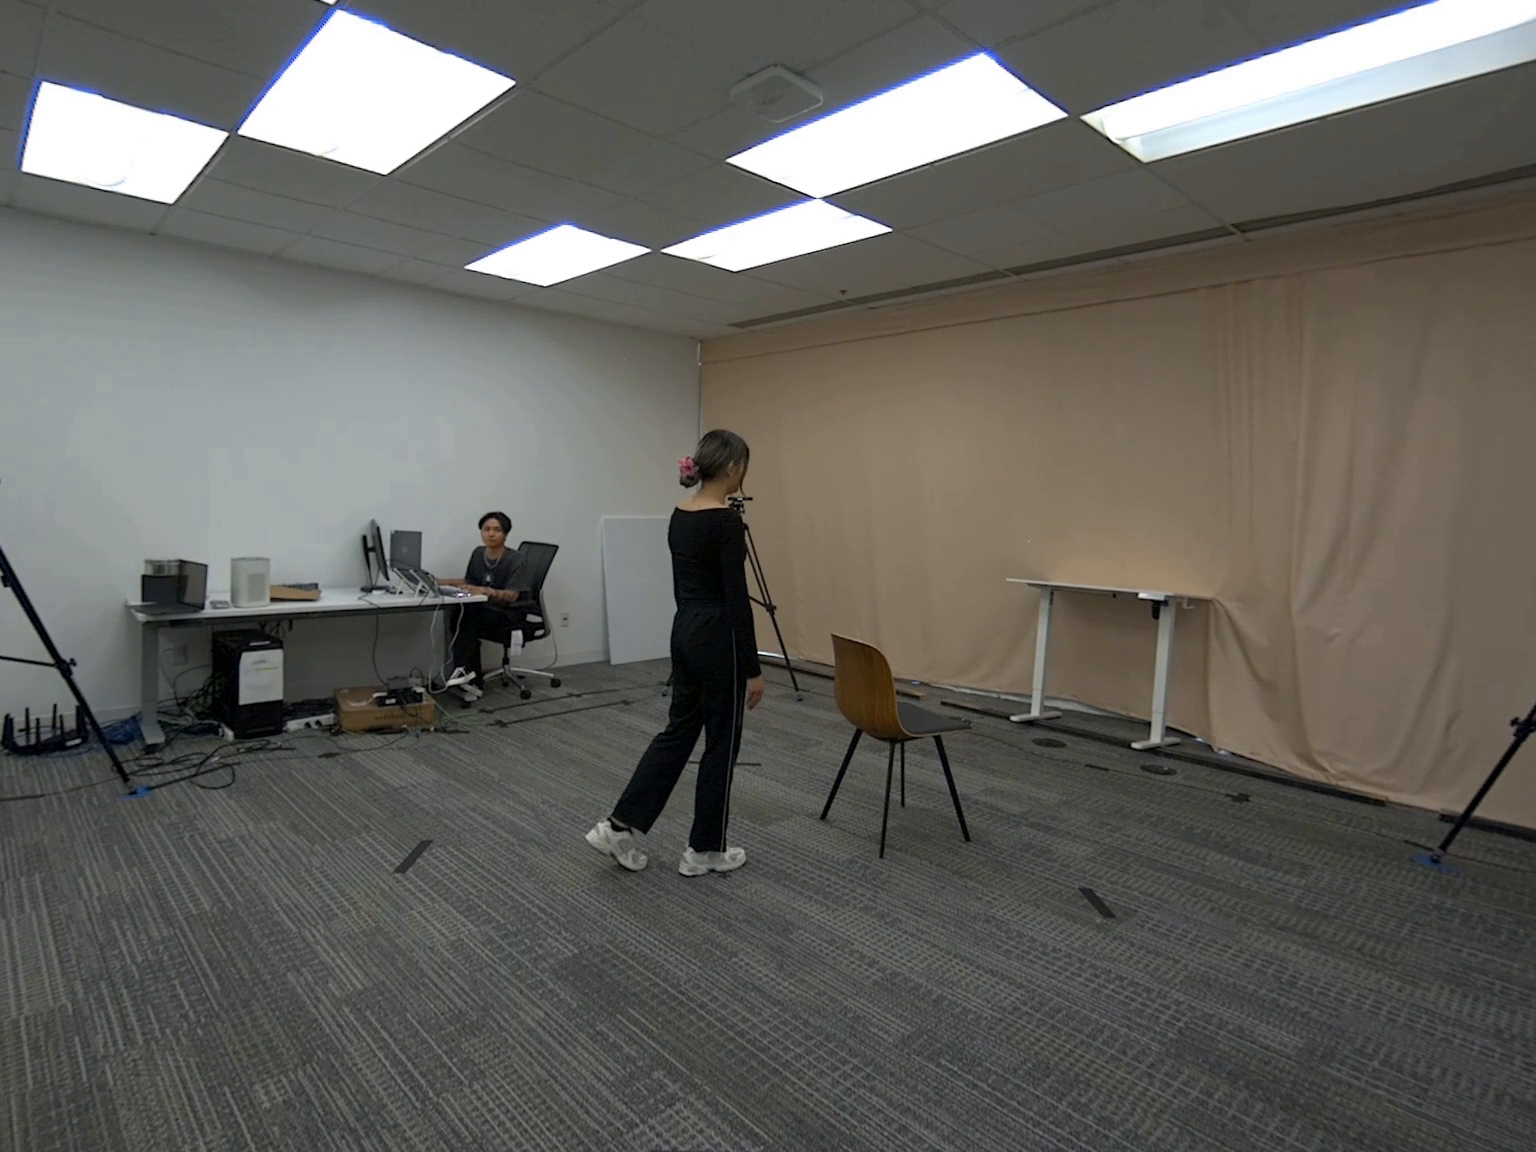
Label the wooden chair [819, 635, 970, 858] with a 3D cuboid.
[{"bbox_3d":[0.541,0.654,3.563,0.514,0.874,0.488,-5,5,-27],"label":"wooden chair"}]
